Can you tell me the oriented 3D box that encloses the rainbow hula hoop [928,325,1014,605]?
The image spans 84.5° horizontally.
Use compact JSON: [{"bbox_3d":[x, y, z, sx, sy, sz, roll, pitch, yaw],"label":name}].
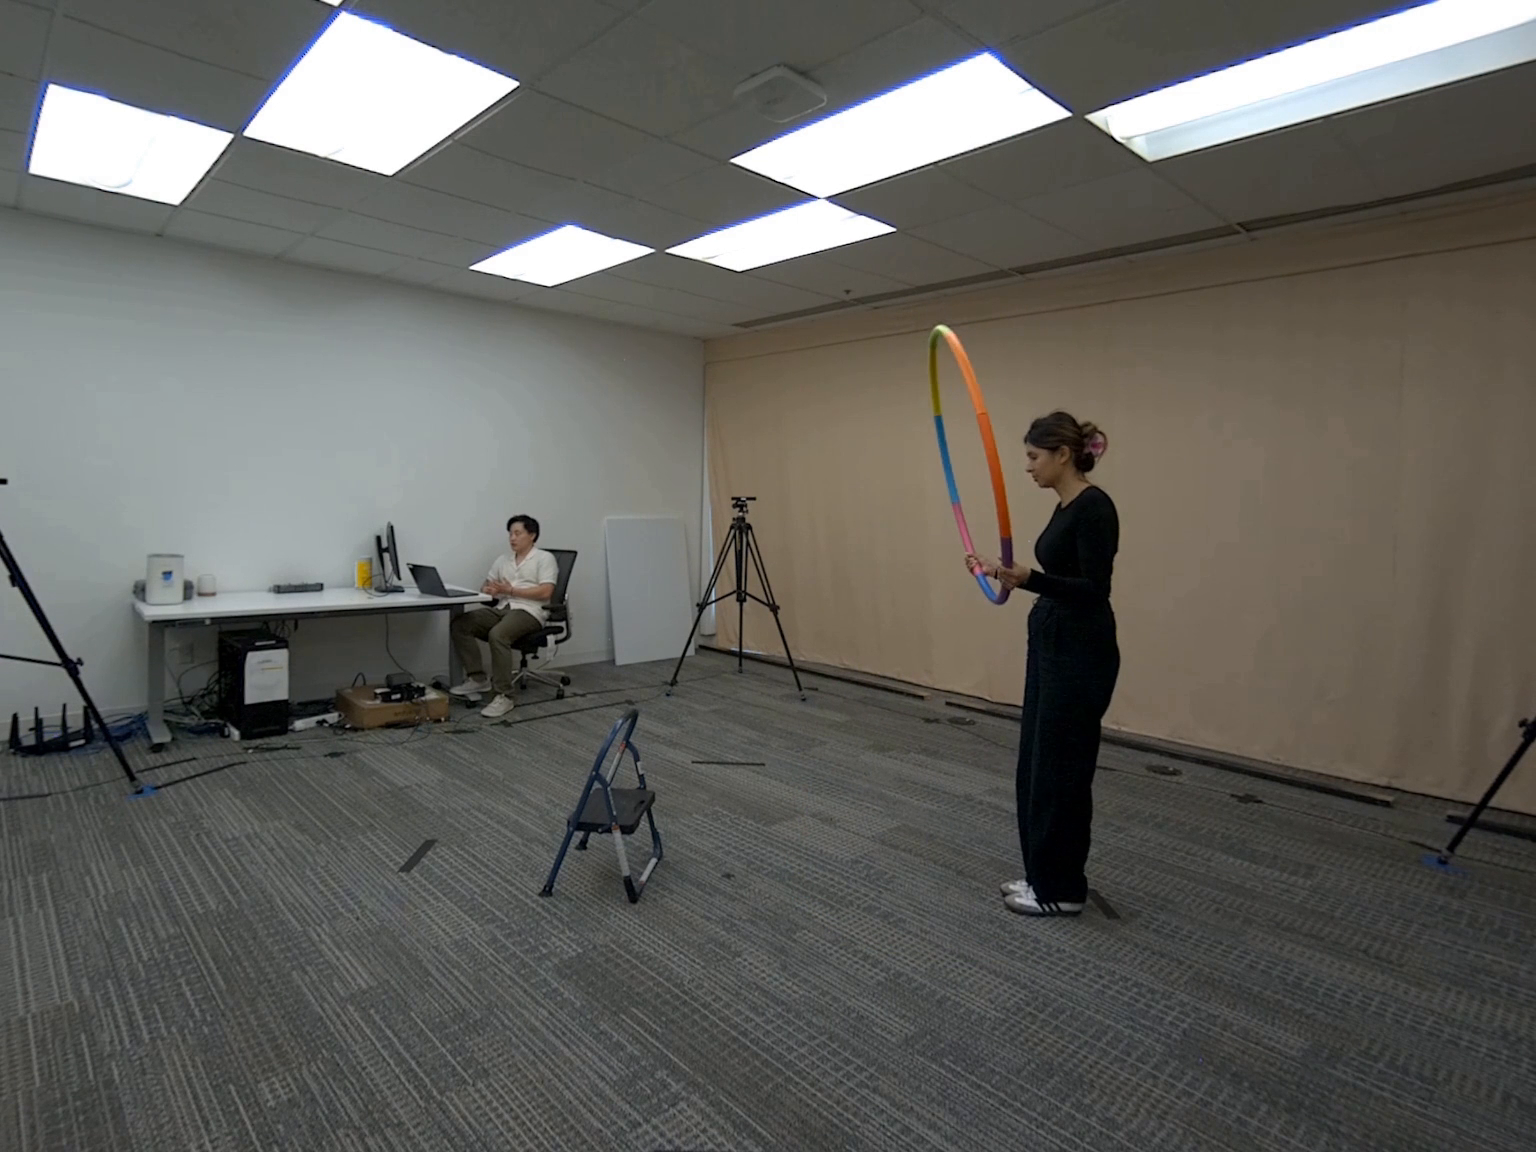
[{"bbox_3d":[0.685,-0.374,2.931,0.036,0.977,0.976,-13,3,6],"label":"rainbow hula hoop"}]
